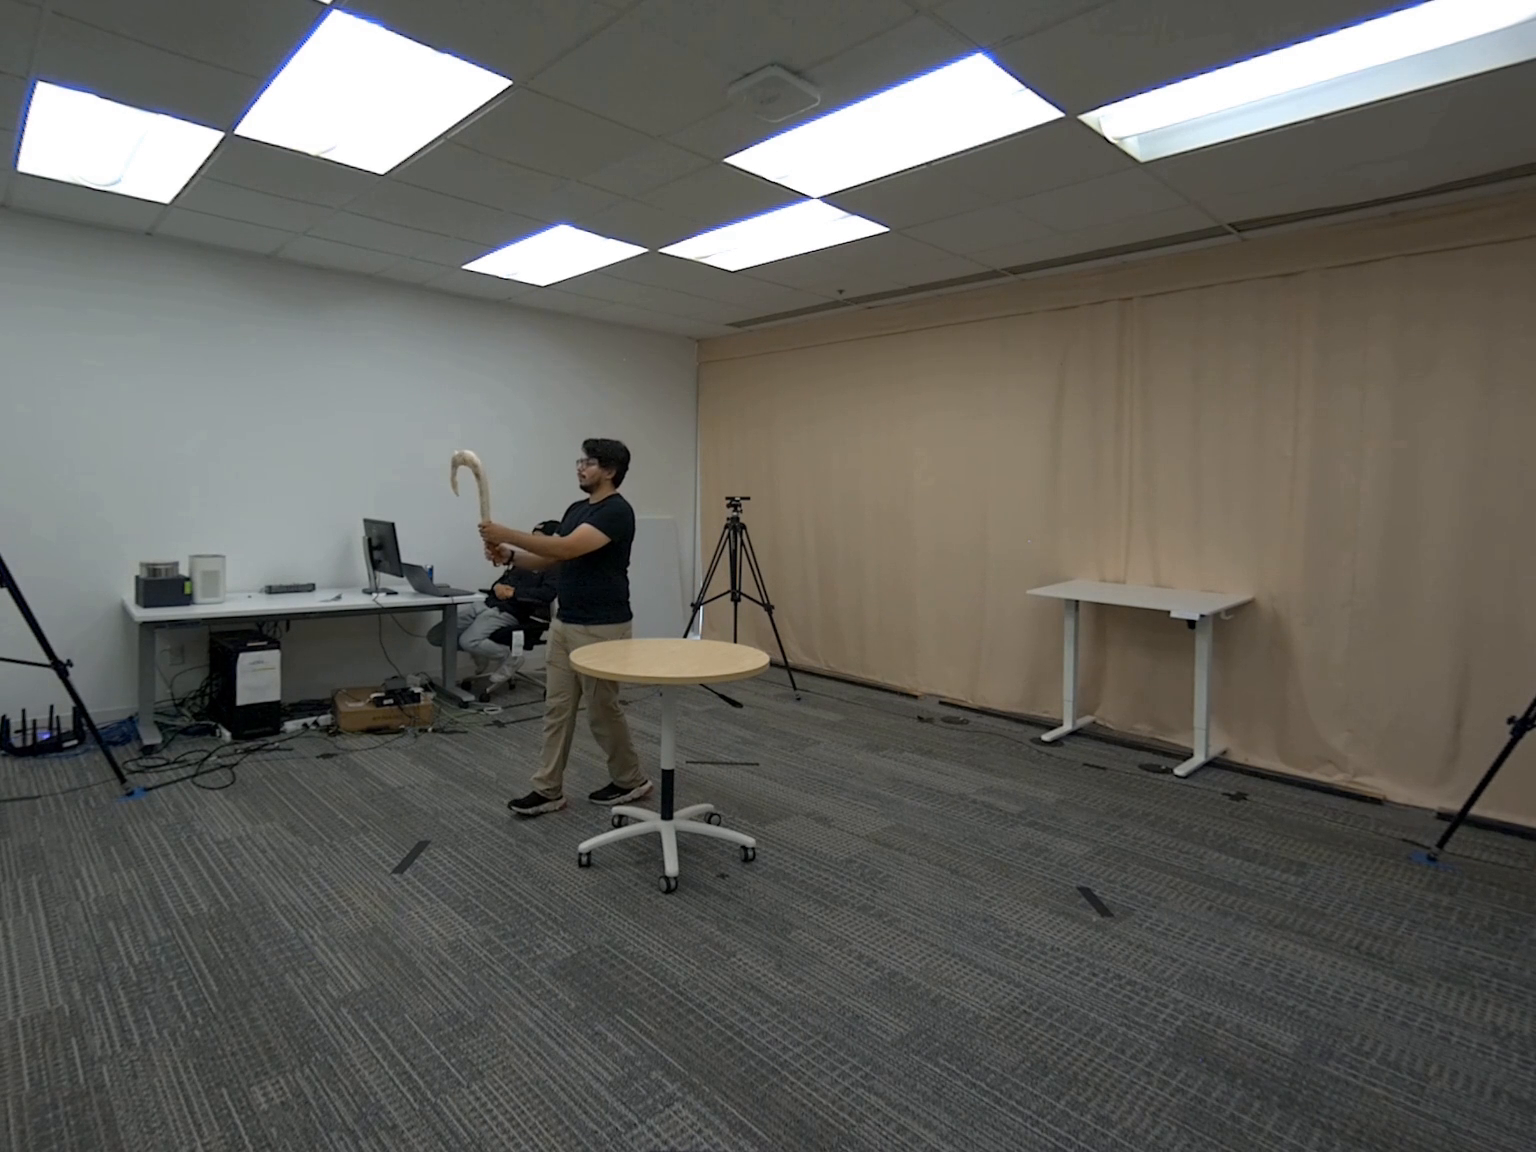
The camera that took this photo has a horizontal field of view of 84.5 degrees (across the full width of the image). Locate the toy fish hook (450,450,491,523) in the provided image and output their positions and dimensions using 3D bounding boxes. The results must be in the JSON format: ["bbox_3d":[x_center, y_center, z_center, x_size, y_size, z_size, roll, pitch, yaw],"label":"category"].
[{"bbox_3d":[-1.243,-0.284,3.542,0.230,0.501,0.047,2,17,40],"label":"toy fish hook"}]
